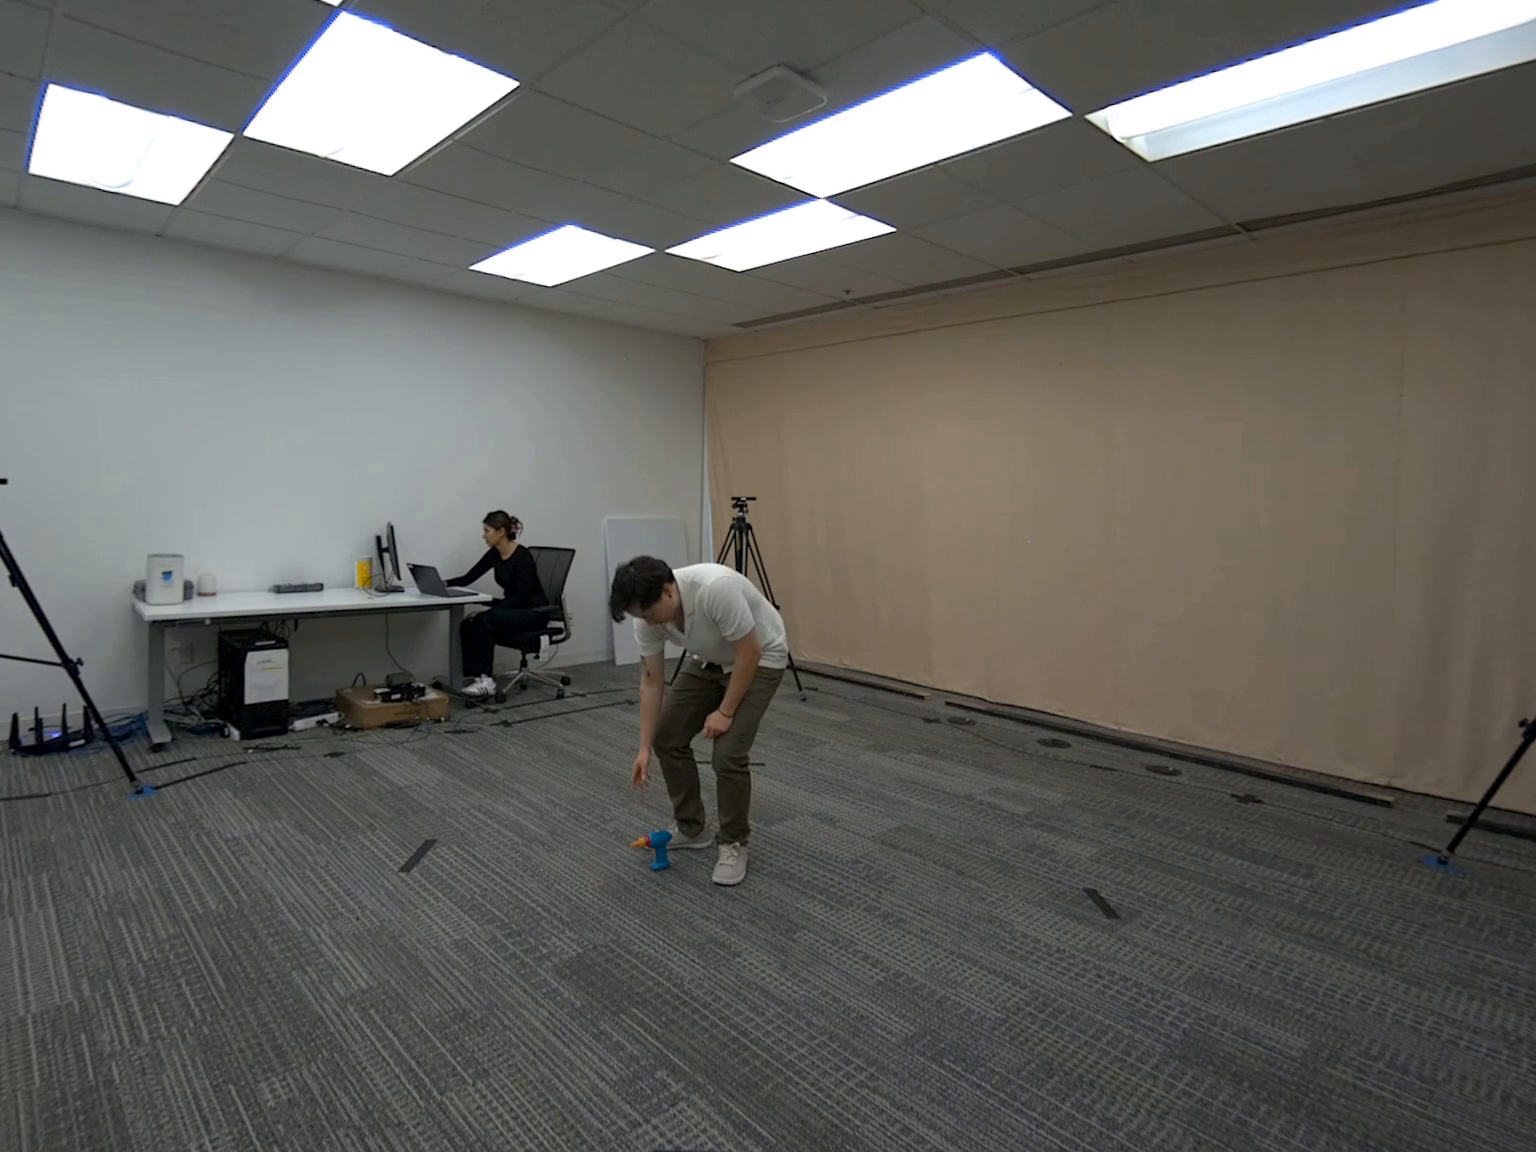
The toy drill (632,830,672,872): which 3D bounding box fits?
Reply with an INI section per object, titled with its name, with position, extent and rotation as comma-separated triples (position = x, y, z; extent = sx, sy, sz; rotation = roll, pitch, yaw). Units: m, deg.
[toy drill]
position = -0.442, 1.018, 3.133
extent = 0.166, 0.145, 0.062
rotation = -4, 7, -33
